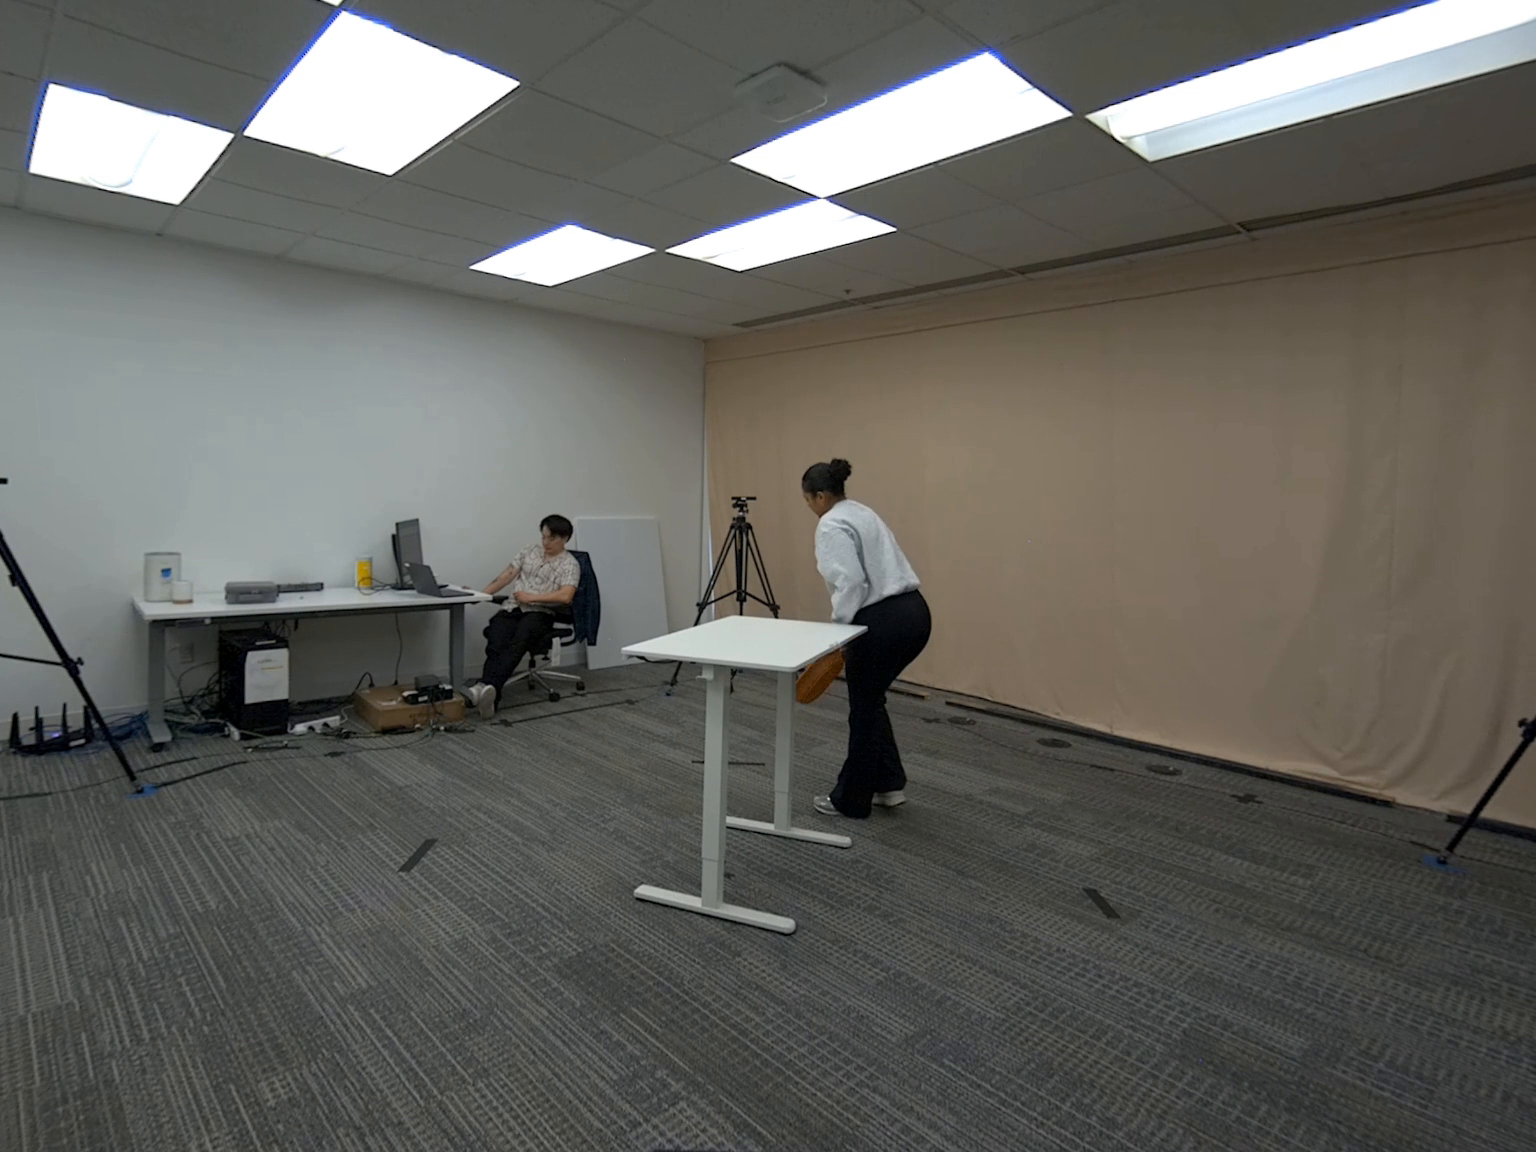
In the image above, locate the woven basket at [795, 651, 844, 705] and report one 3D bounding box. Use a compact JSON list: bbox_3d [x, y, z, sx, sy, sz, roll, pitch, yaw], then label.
[{"bbox_3d":[0.223,0.481,3.966,0.075,0.350,0.247,45,18,23],"label":"woven basket"}]
